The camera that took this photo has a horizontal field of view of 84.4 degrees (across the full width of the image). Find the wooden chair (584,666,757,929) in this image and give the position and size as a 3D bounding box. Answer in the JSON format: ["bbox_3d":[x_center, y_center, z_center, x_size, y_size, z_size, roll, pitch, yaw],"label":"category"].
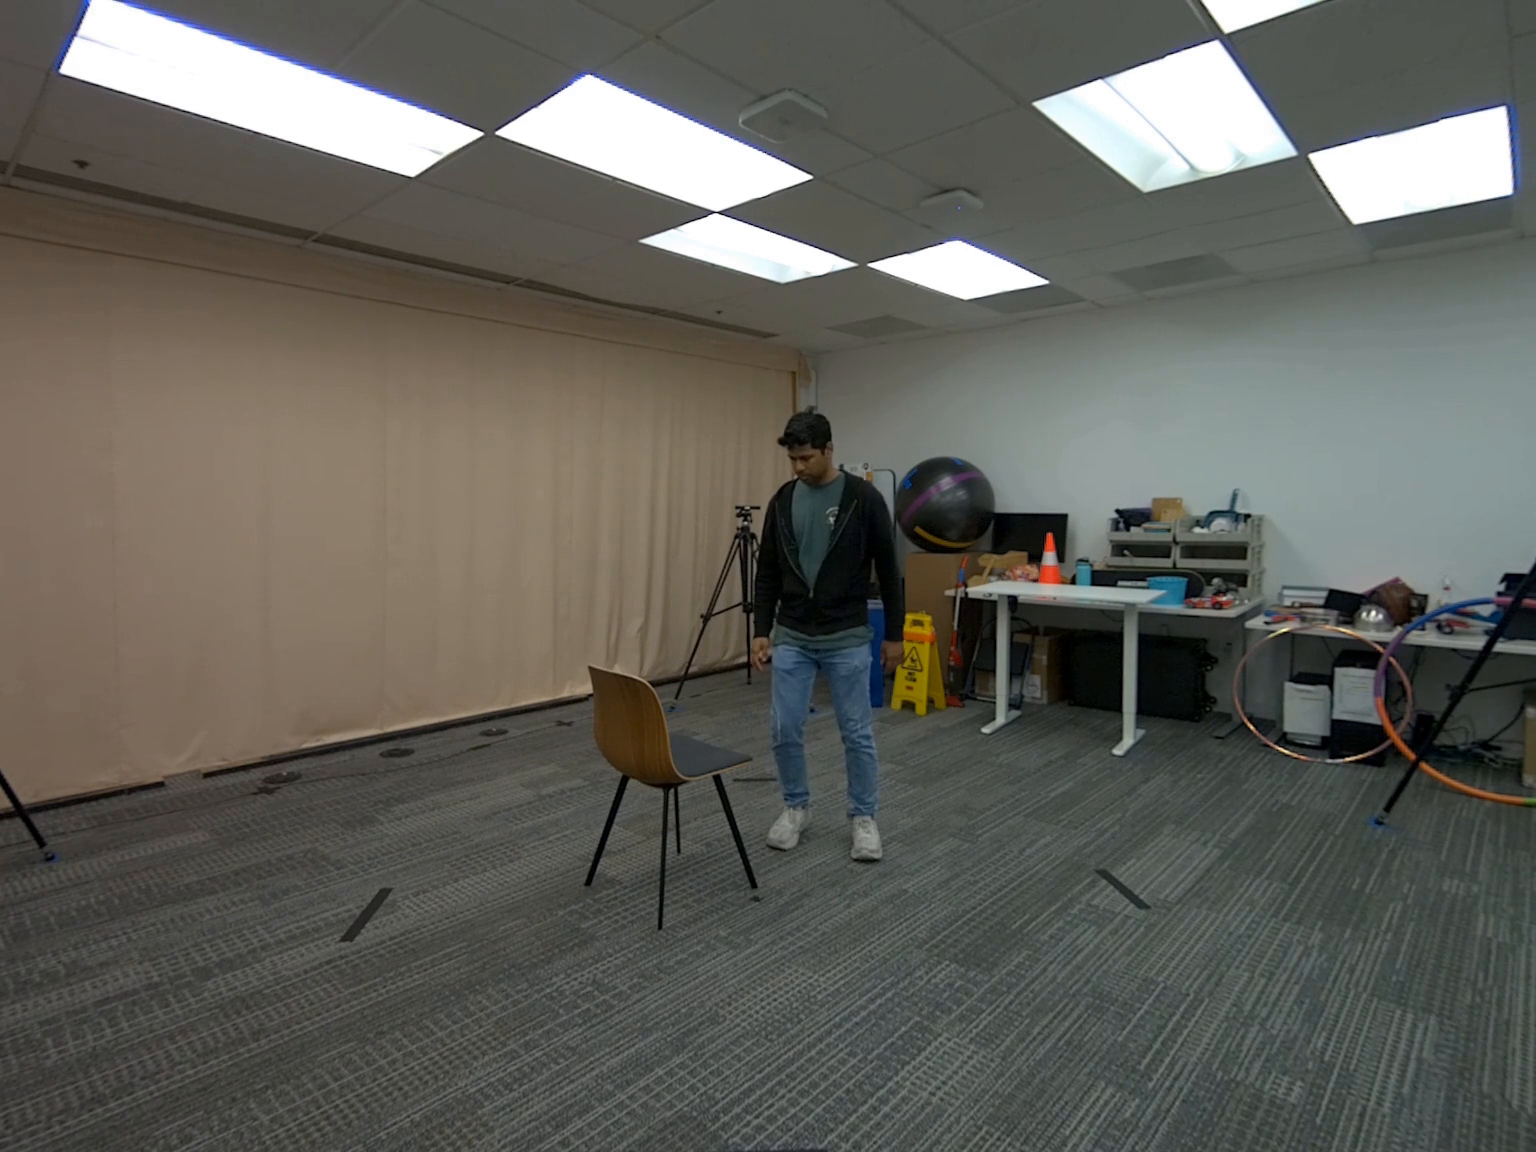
[{"bbox_3d":[-0.350,0.715,3.053,0.508,0.874,0.494,-9,8,-43],"label":"wooden chair"}]
